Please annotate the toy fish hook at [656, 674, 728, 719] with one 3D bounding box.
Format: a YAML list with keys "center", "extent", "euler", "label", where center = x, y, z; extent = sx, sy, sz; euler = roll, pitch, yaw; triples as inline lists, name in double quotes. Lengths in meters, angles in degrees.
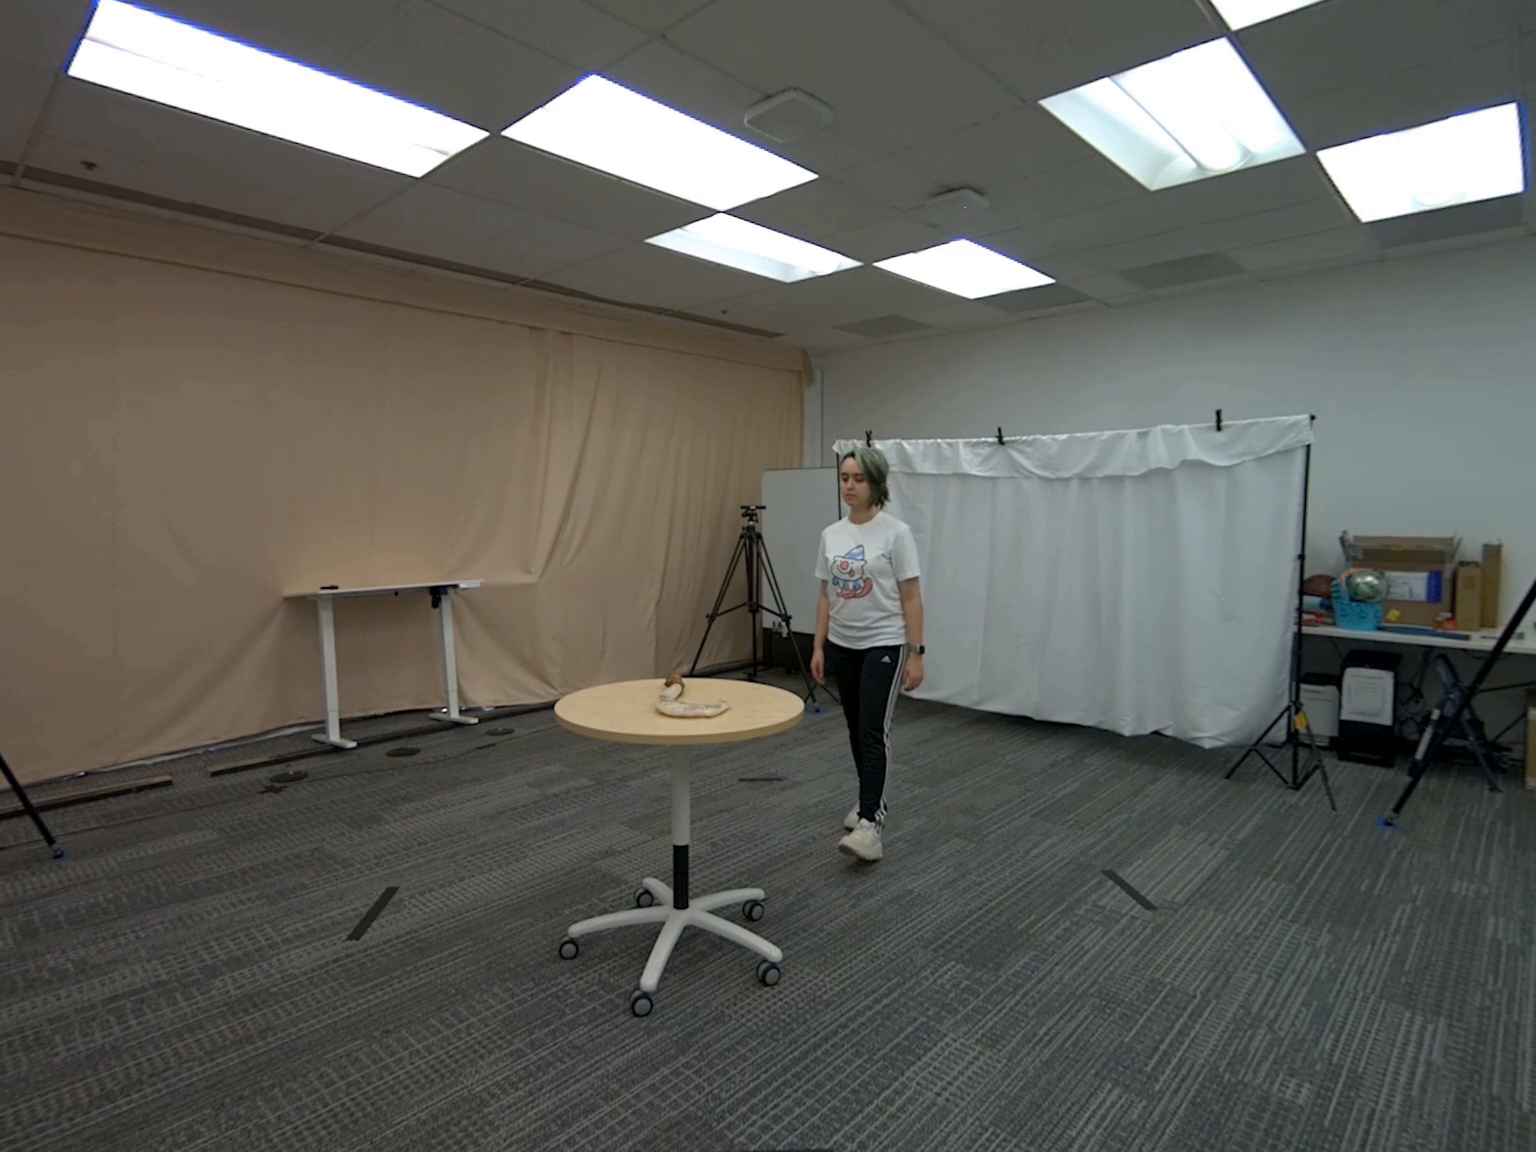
- center: [-0.246, 0.373, 2.644]
  extent: [0.224, 0.048, 0.510]
  euler: [6, 5, -5]
  label: "toy fish hook"
